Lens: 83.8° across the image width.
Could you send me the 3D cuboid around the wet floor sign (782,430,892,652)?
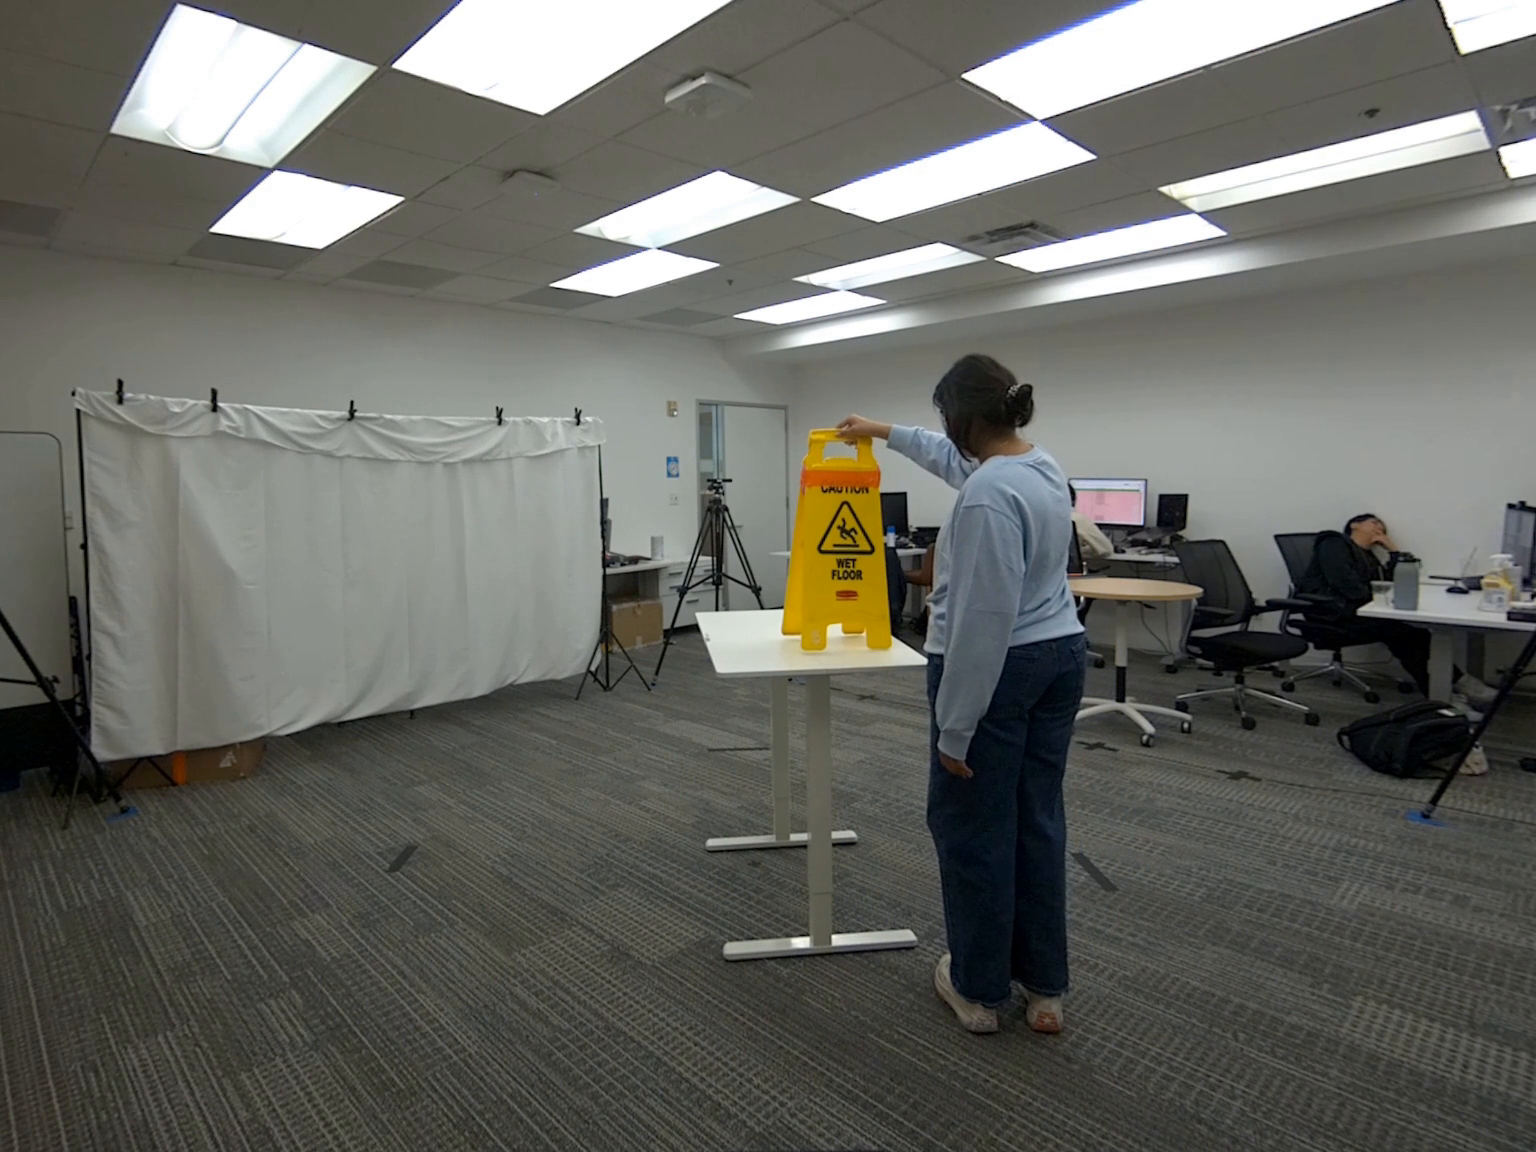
[{"bbox_3d":[0.217,-0.121,2.618,0.279,0.644,0.294,1,3,-12],"label":"wet floor sign"}]
